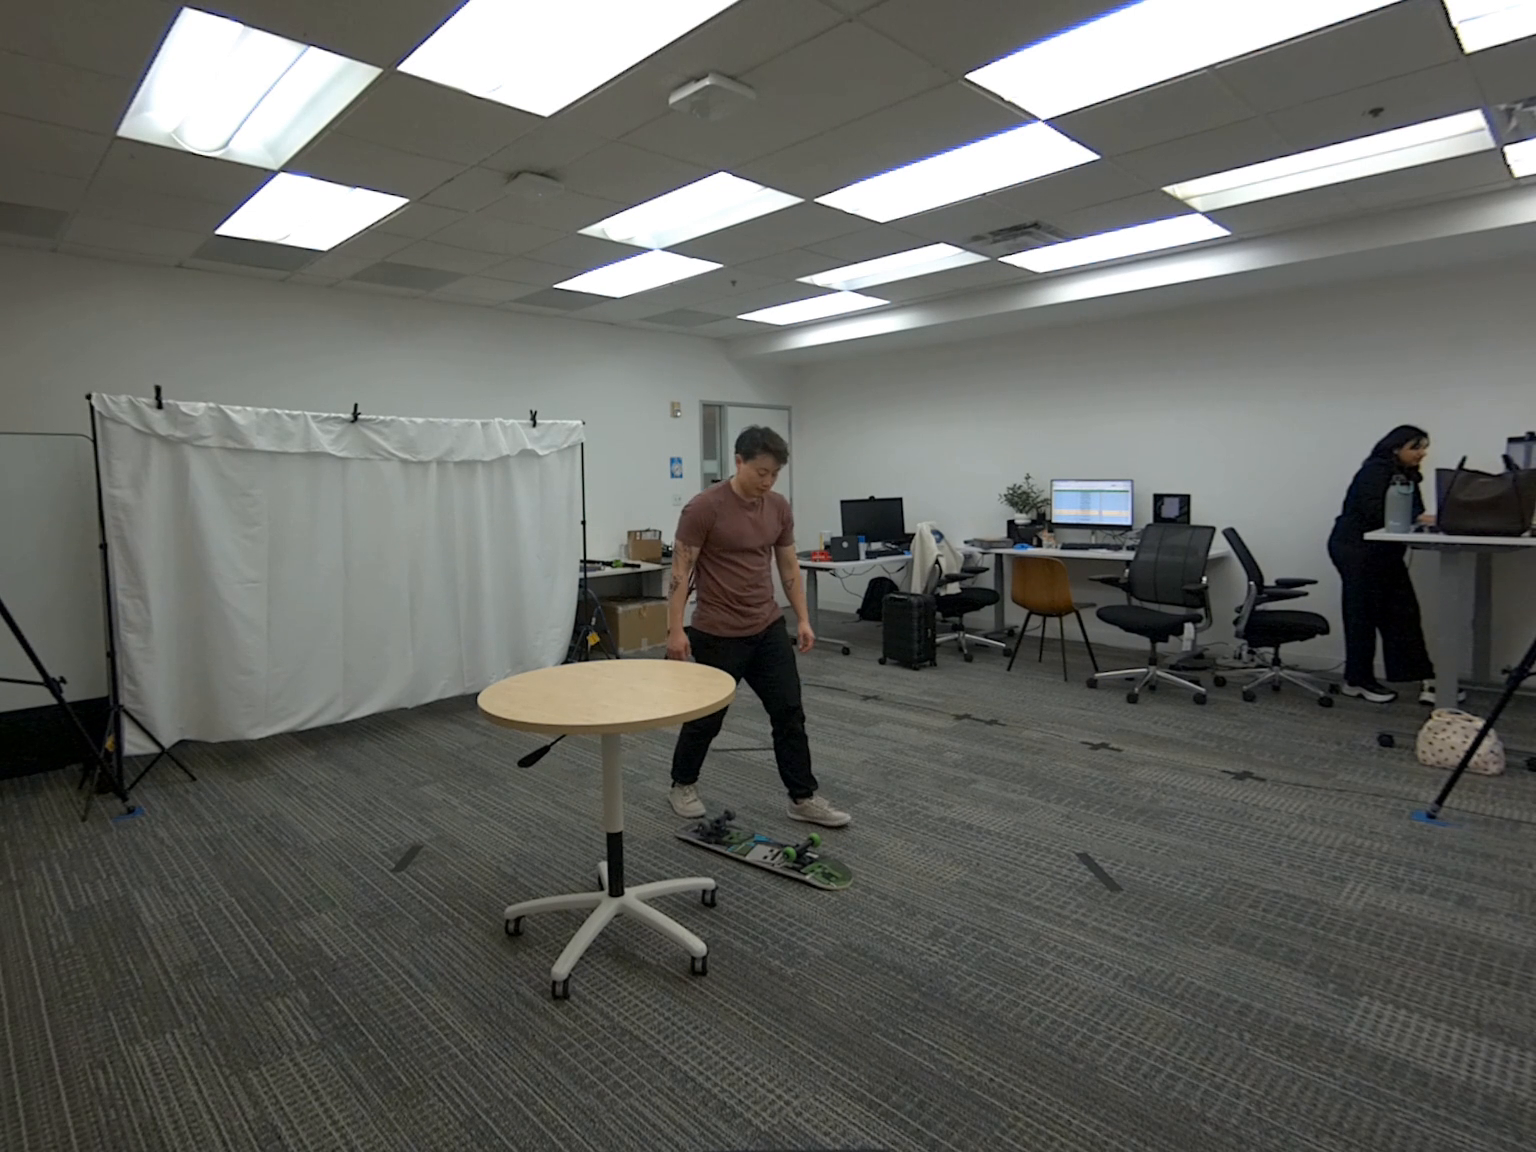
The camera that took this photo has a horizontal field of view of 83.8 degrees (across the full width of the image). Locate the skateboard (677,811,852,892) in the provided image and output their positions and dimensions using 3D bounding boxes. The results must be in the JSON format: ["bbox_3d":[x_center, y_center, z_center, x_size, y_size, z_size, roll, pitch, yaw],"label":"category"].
[{"bbox_3d":[-0.037,0.988,3.174,0.809,0.110,0.188,4,7,39],"label":"skateboard"}]
